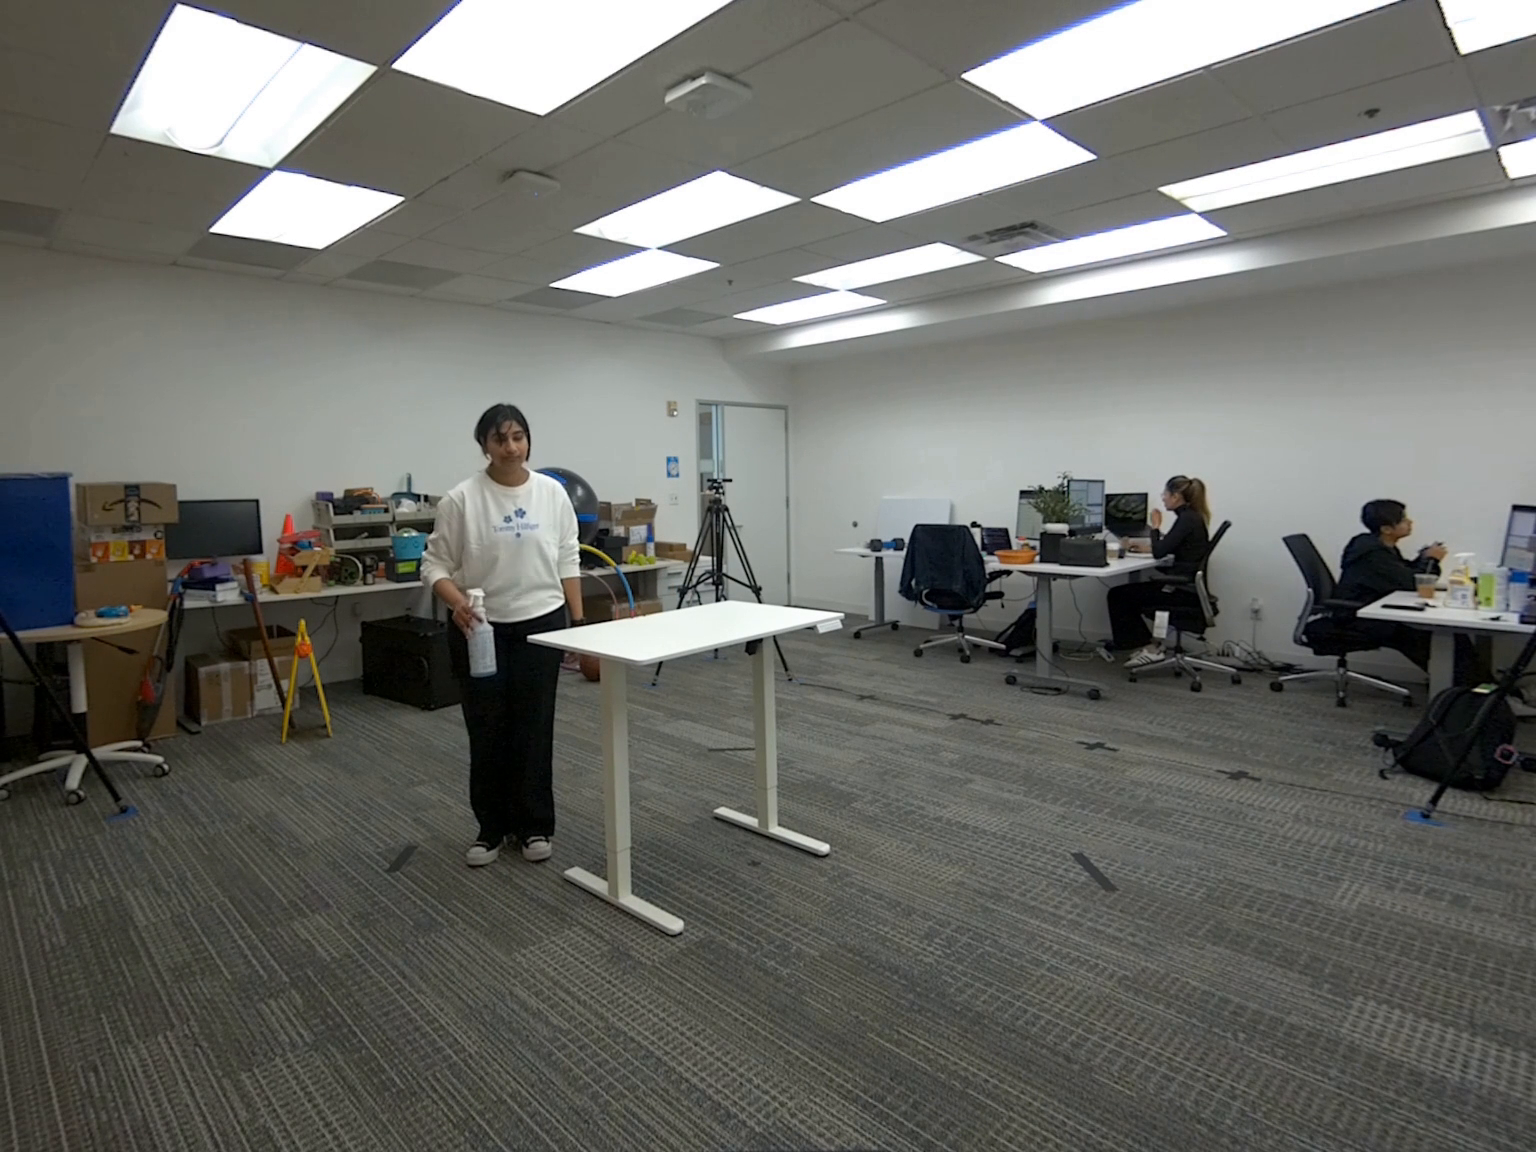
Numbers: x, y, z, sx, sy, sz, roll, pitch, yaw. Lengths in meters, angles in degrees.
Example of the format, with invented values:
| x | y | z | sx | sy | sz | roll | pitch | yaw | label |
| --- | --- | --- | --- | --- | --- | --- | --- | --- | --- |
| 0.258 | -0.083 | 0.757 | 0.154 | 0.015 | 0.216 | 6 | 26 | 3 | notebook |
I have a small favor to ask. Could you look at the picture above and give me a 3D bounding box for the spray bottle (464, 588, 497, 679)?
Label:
| x | y | z | sx | sy | sz | roll | pitch | yaw | label |
| --- | --- | --- | --- | --- | --- | --- | --- | --- | --- |
| -0.992 | 0.196 | 2.911 | 0.089 | 0.296 | 0.088 | -3 | 4 | 36 | spray bottle |
